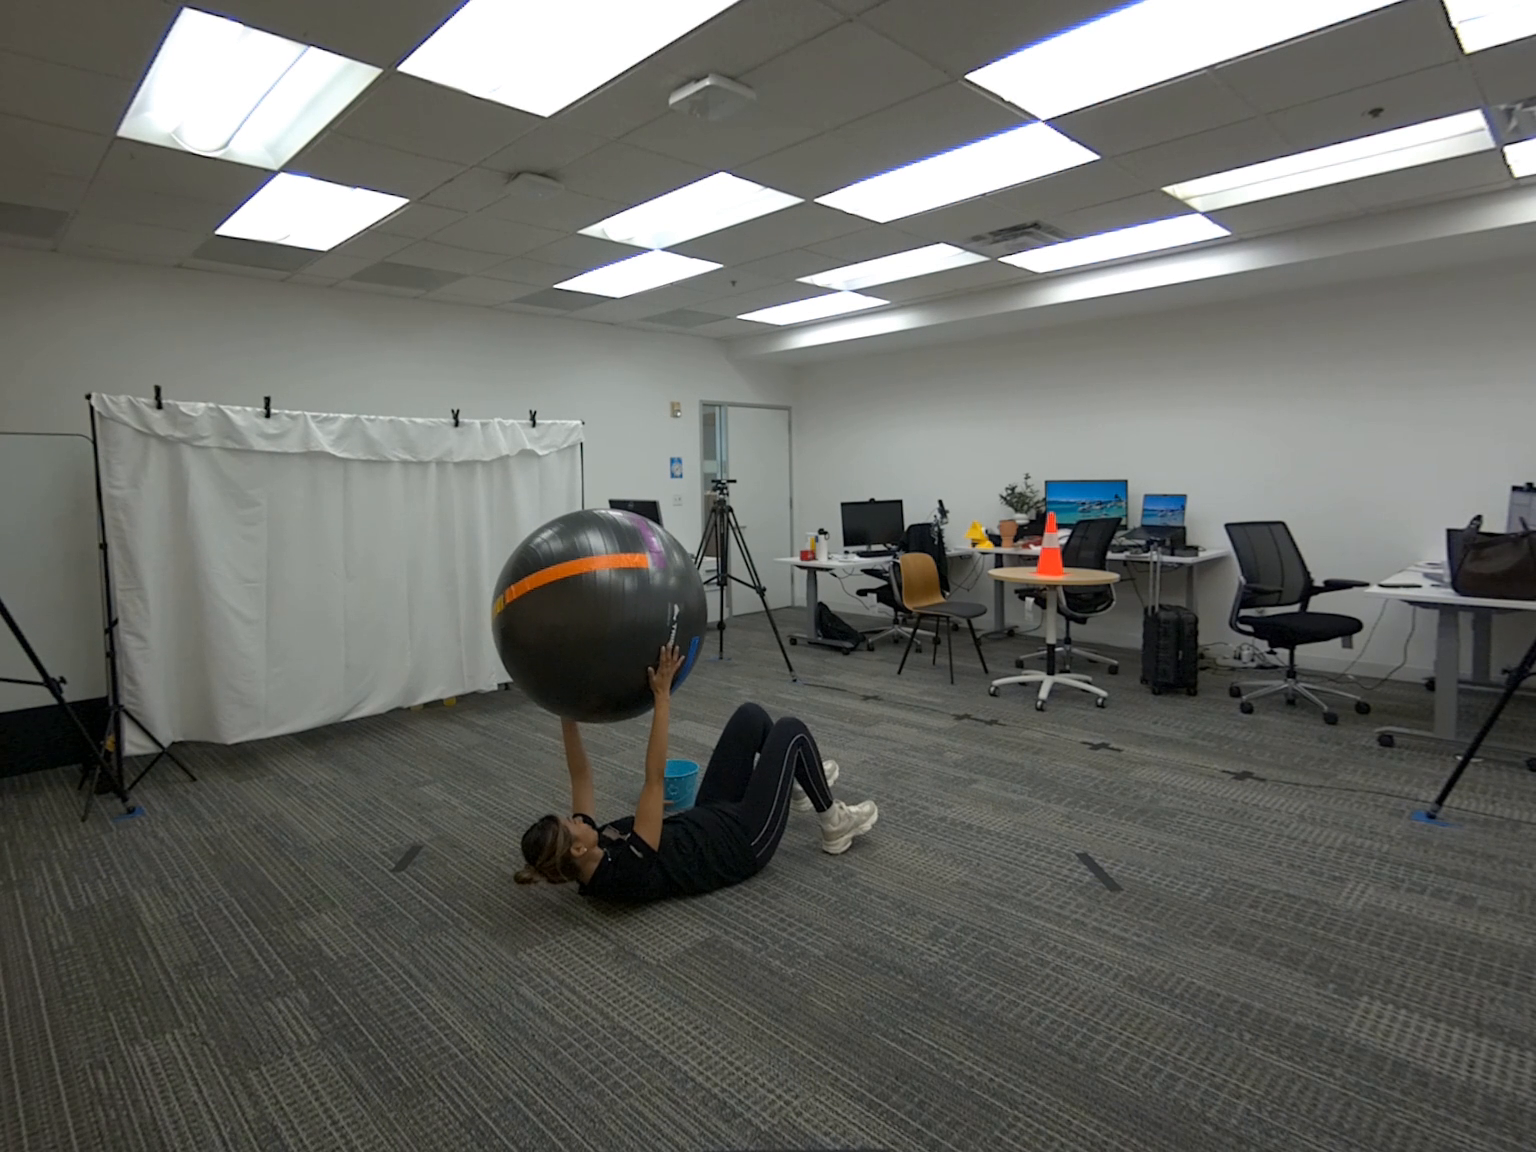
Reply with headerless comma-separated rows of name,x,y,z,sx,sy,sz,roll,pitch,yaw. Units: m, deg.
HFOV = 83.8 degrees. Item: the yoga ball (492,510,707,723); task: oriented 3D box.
yoga ball,-0.597,0.147,3.040,0.757,0.757,0.759,0,1,-2
